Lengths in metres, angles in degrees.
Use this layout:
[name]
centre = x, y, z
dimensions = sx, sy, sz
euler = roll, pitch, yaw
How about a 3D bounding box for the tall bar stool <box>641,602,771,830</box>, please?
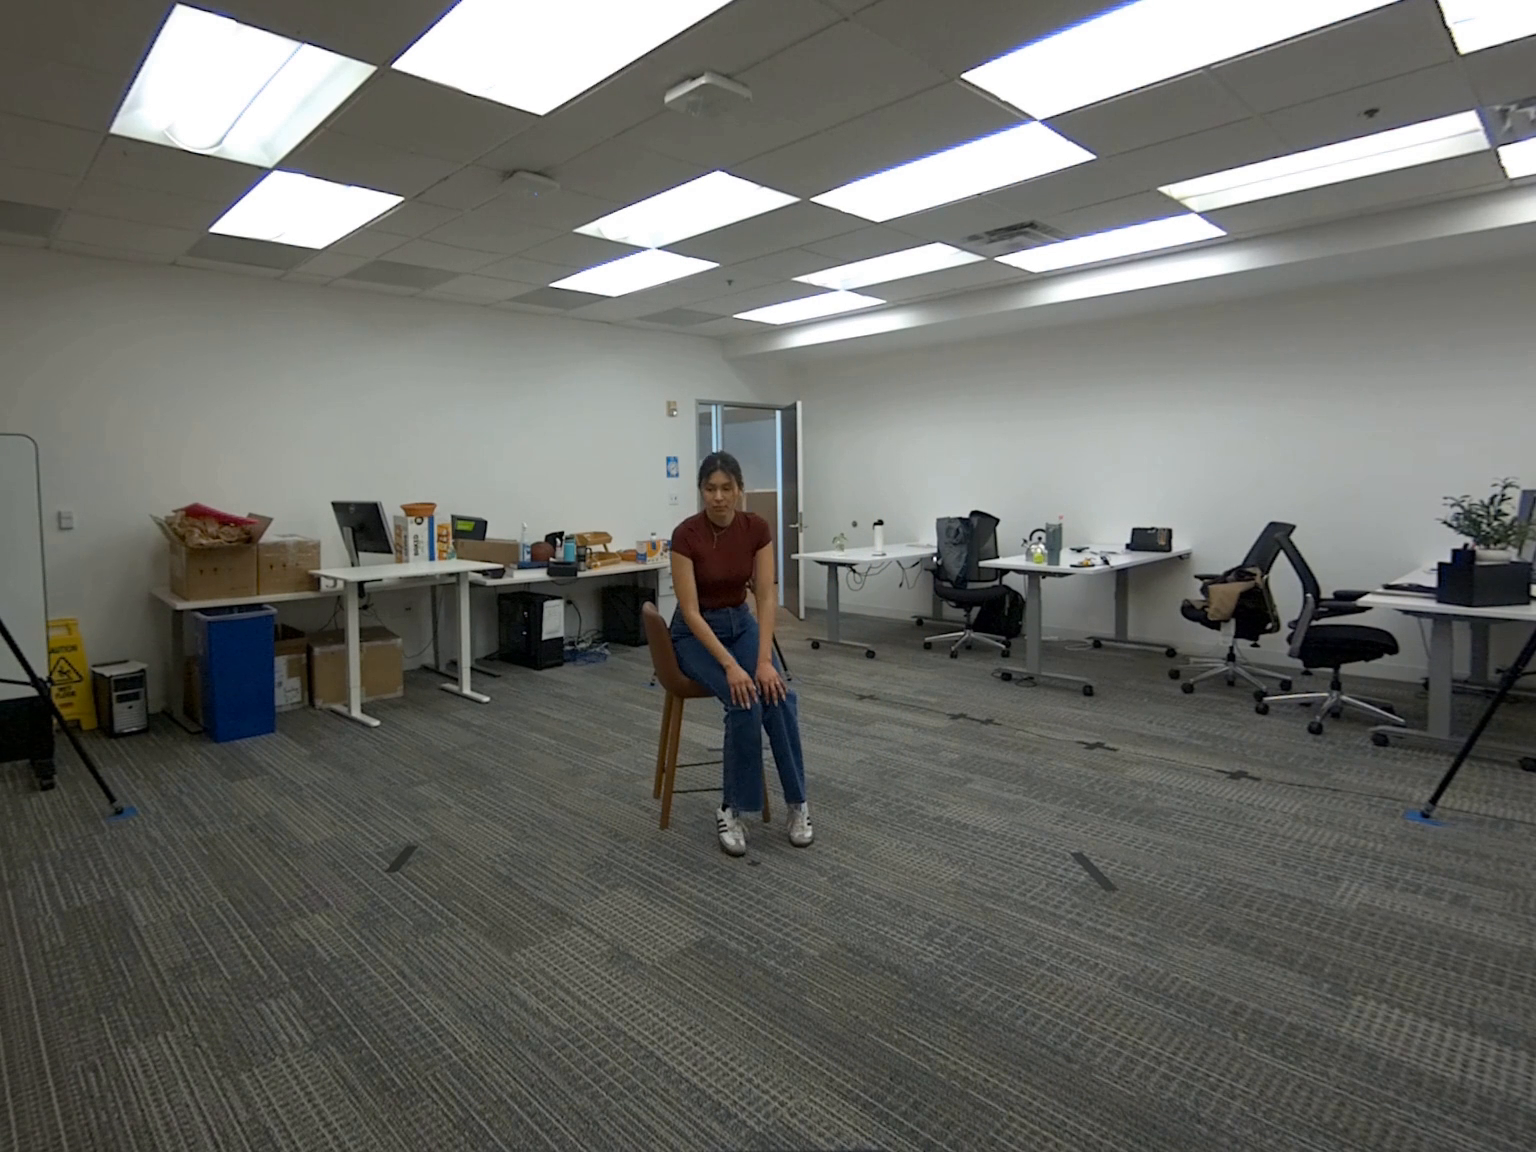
[tall bar stool]
centre = -0.274, 0.559, 3.629
dimensions = 0.463, 0.887, 0.463
euler = -3, 3, -12
